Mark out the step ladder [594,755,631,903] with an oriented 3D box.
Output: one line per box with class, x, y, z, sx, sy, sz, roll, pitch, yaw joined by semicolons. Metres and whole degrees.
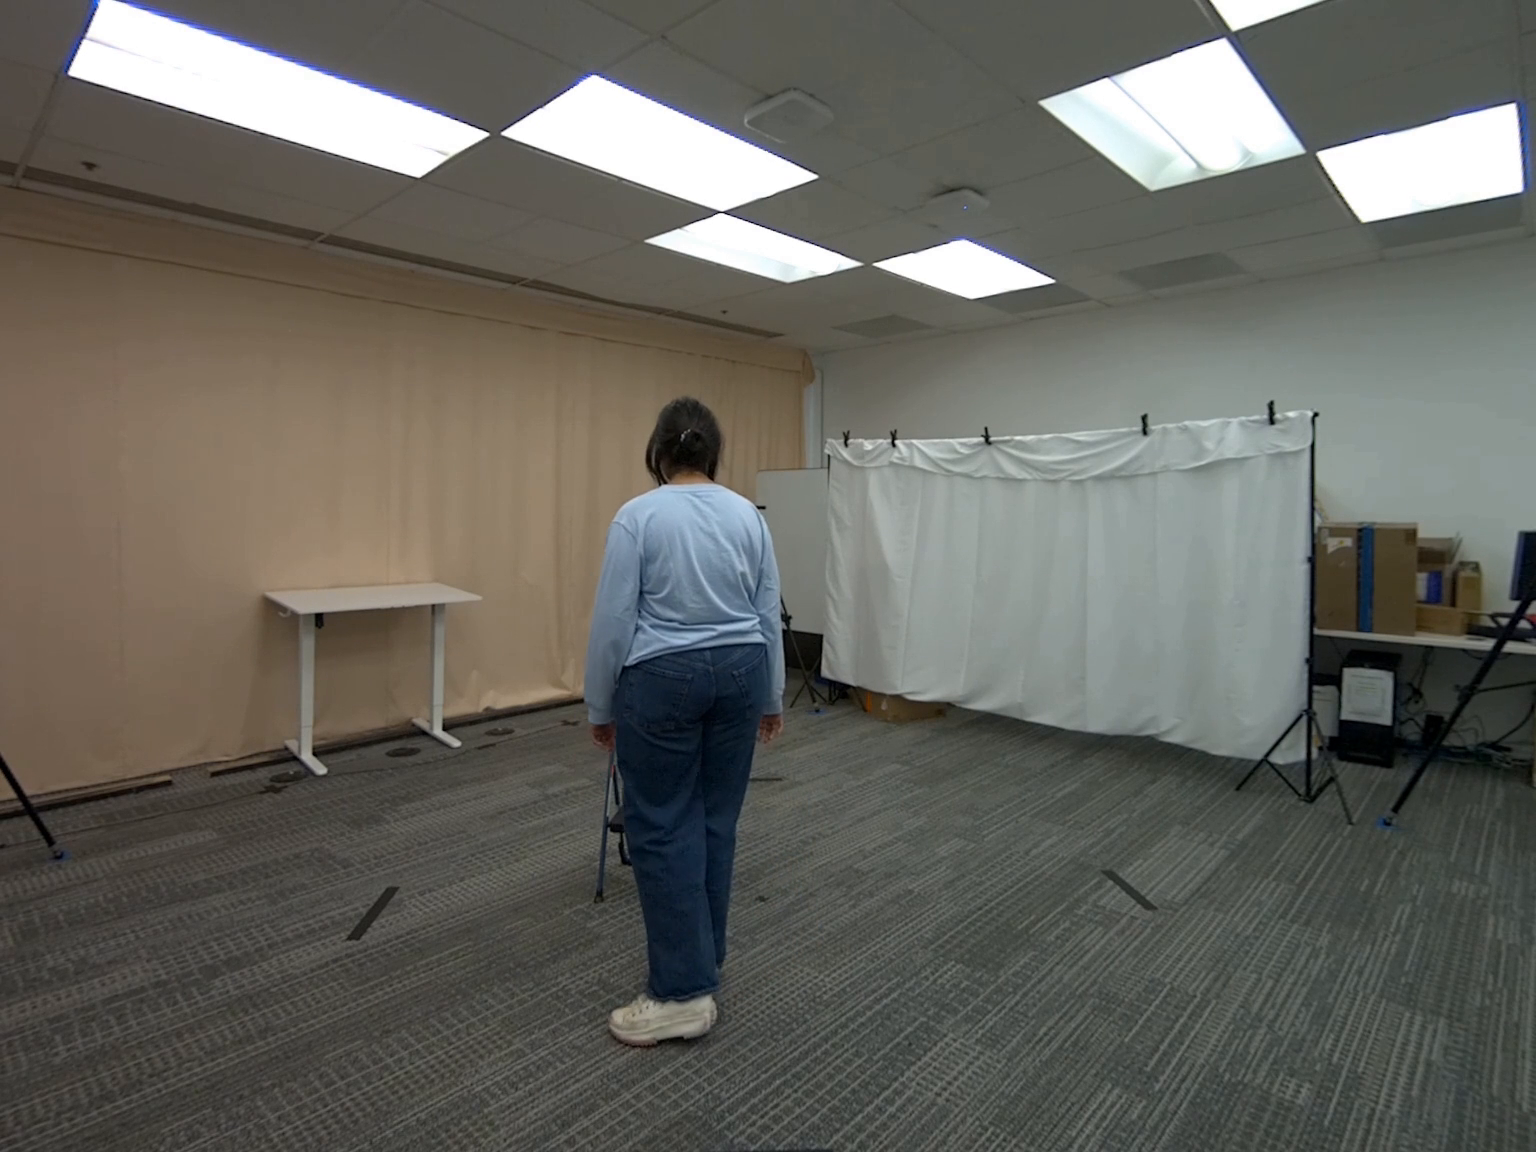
step ladder;-0.389;0.836;3.086;0.435;0.605;0.346;0;4;9
